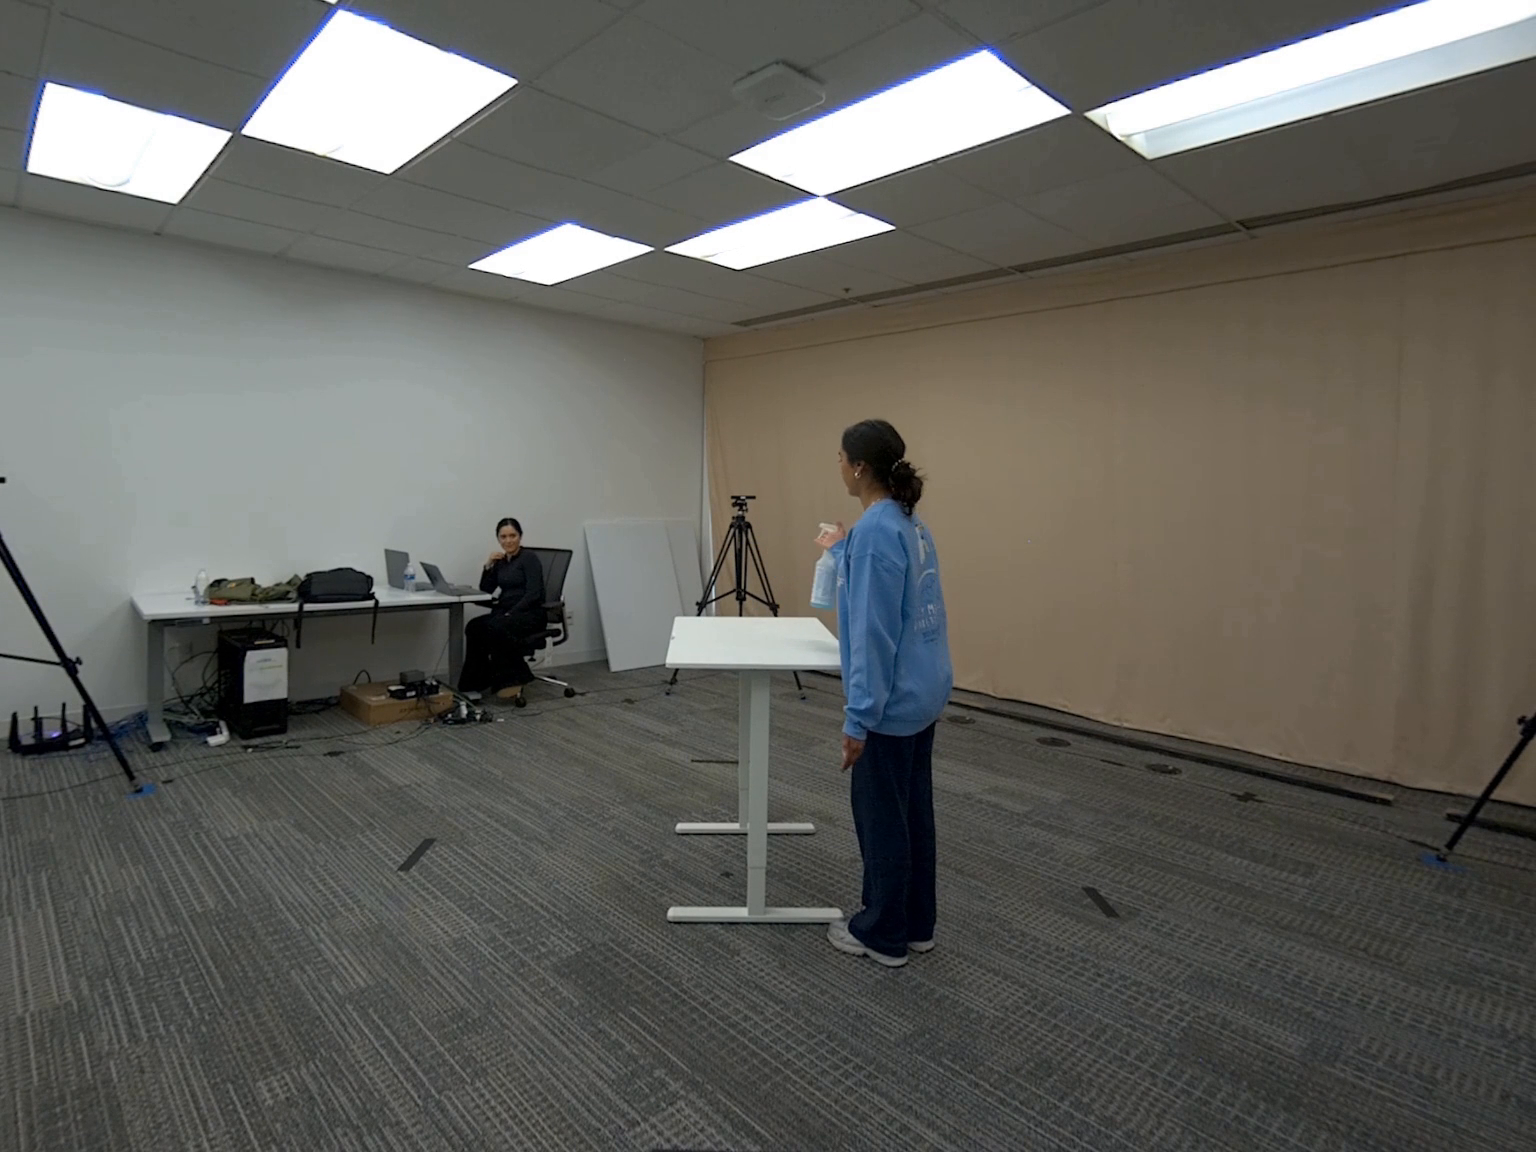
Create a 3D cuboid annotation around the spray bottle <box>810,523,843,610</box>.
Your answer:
[{"bbox_3d":[0.209,-0.034,3.002,0.091,0.297,0.085,5,-1,19],"label":"spray bottle"}]
